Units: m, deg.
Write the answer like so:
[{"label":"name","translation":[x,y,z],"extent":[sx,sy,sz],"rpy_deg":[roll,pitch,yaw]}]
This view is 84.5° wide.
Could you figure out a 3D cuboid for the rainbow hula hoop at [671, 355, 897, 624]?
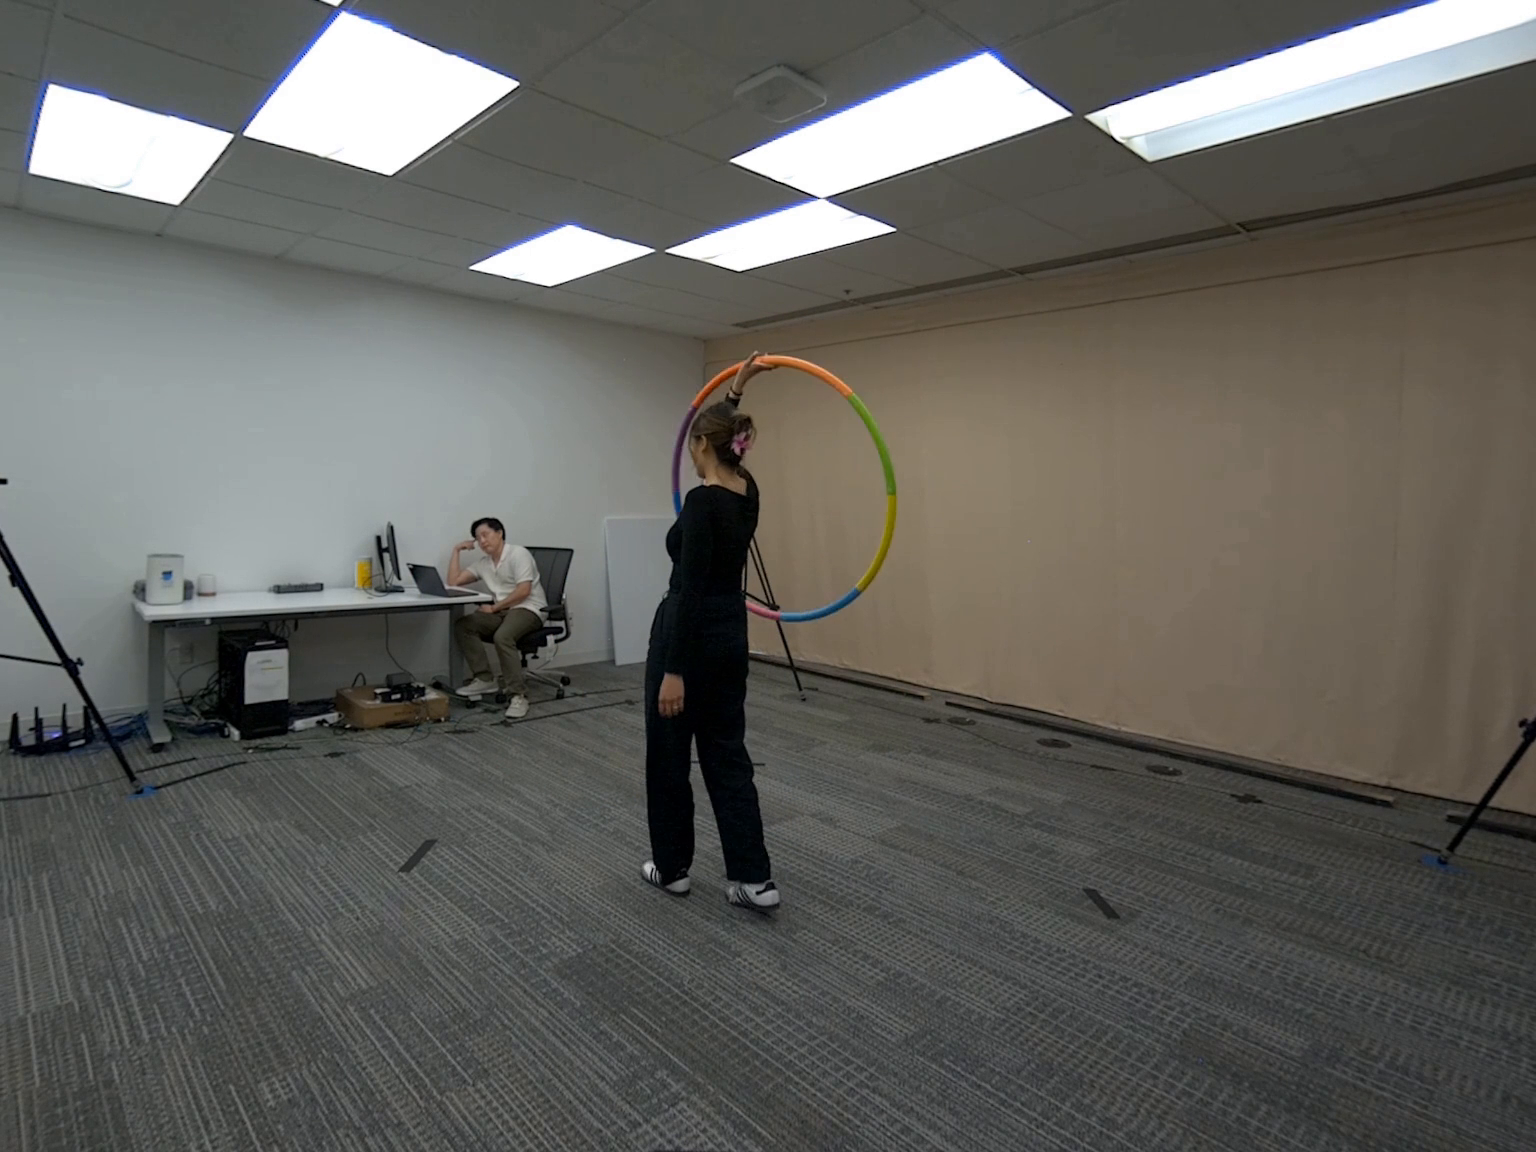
[{"label":"rainbow hula hoop","translation":[0.008,-0.304,3.129],"extent":[1.009,0.977,0.051],"rpy_deg":[4,13,35]}]
